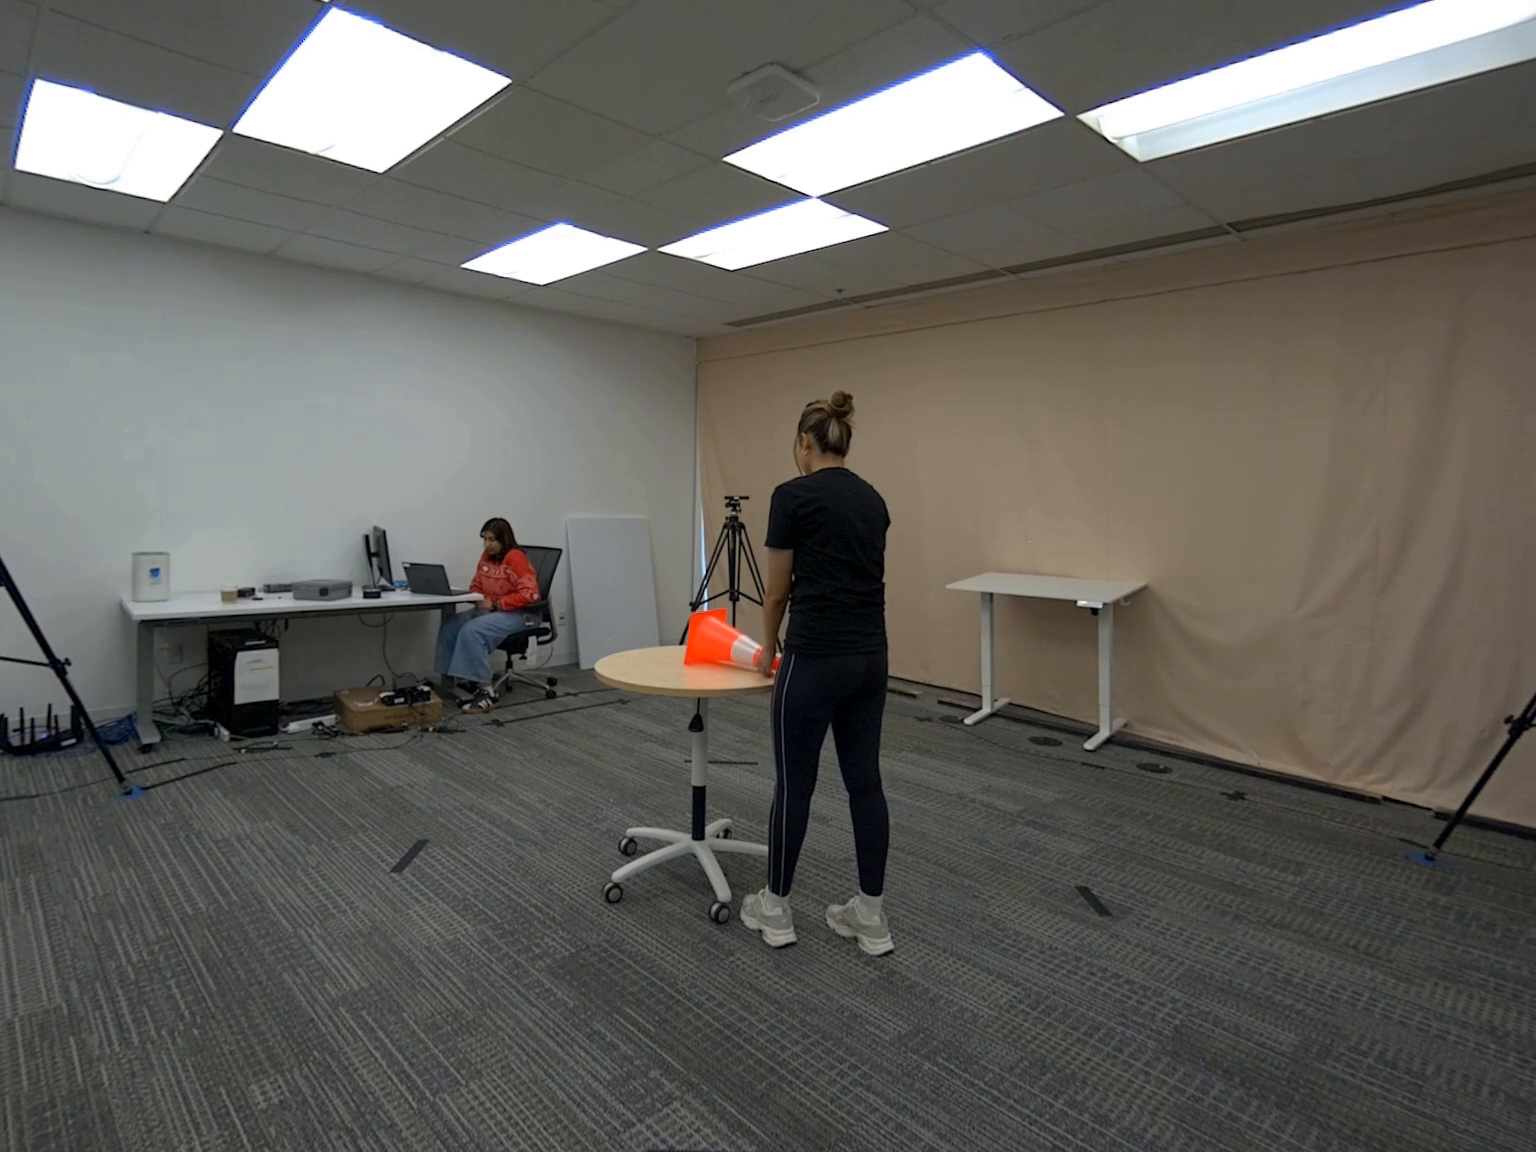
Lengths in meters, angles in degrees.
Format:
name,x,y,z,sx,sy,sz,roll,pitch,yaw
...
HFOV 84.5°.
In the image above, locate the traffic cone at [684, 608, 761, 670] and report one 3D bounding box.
name,x,y,z,sx,sy,sz,roll,pitch,yaw
traffic cone,-0.089,0.274,2.968,0.395,0.203,0.199,19,17,37
